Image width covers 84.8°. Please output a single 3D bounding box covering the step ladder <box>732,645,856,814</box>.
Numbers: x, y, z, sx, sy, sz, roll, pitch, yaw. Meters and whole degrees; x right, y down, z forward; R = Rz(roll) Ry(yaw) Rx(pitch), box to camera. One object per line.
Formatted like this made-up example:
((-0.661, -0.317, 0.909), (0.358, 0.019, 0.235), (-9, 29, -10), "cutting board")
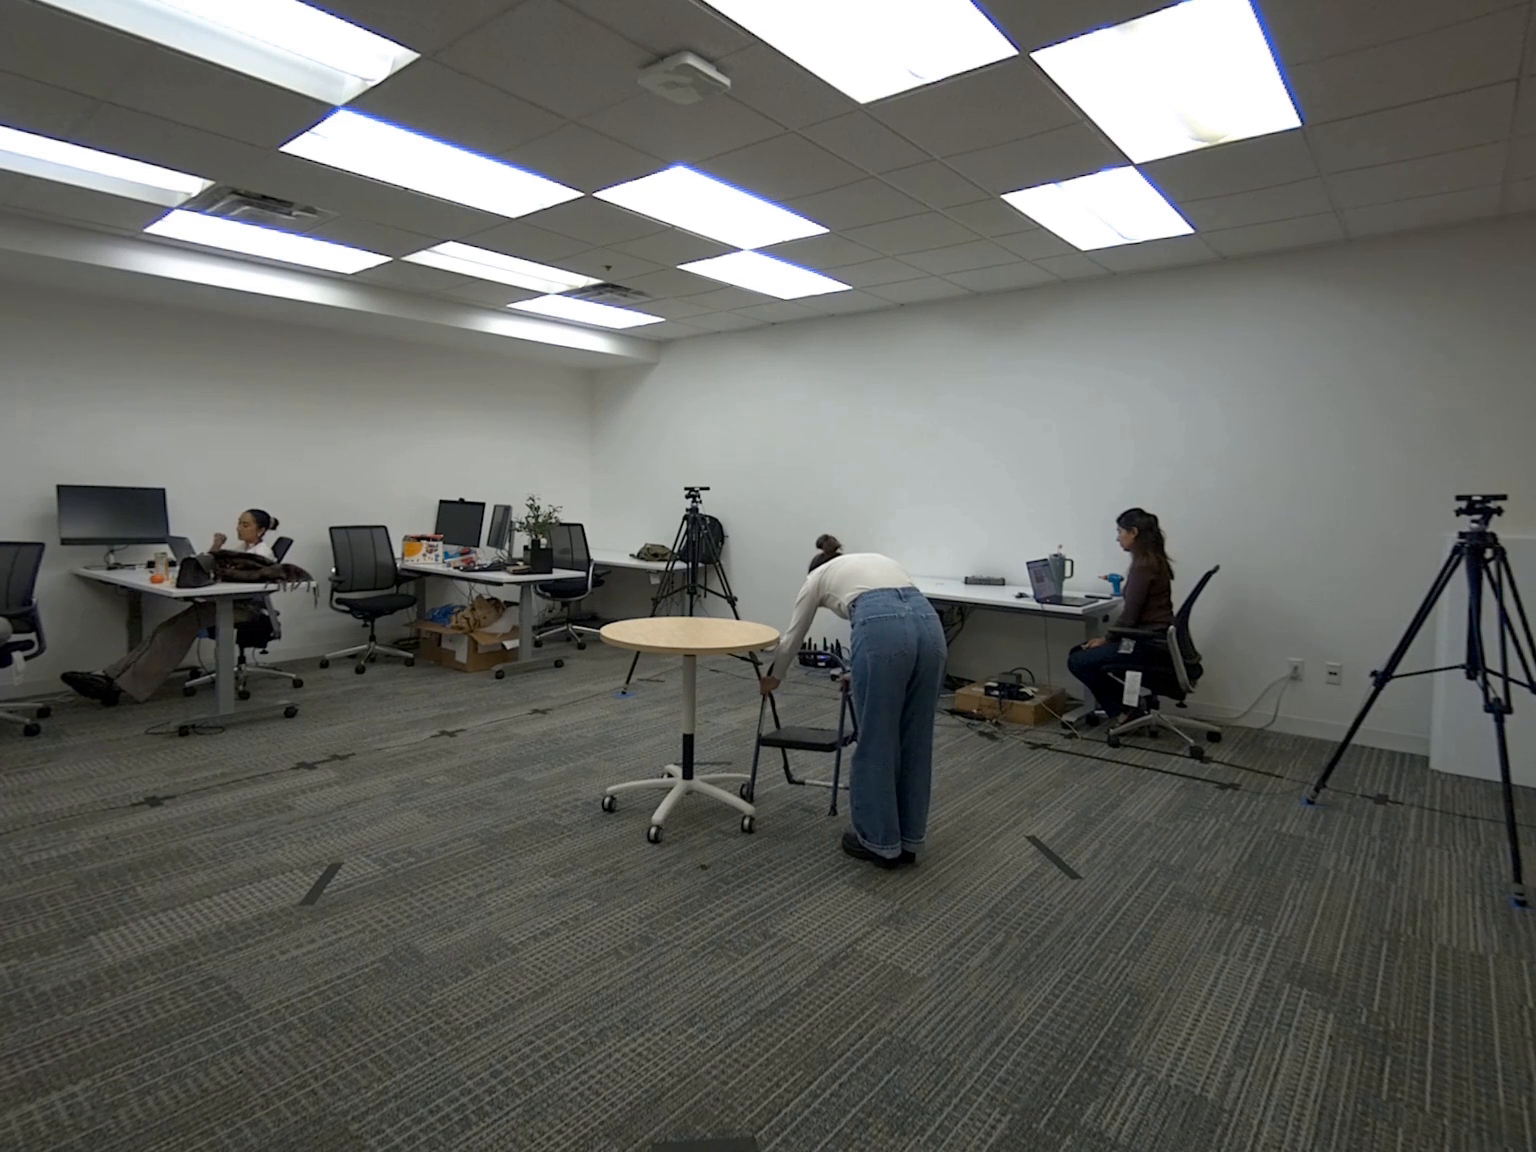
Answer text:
((0.146, 0.619, 3.558), (0.443, 0.607, 0.339), (-5, -1, 35), "step ladder")
